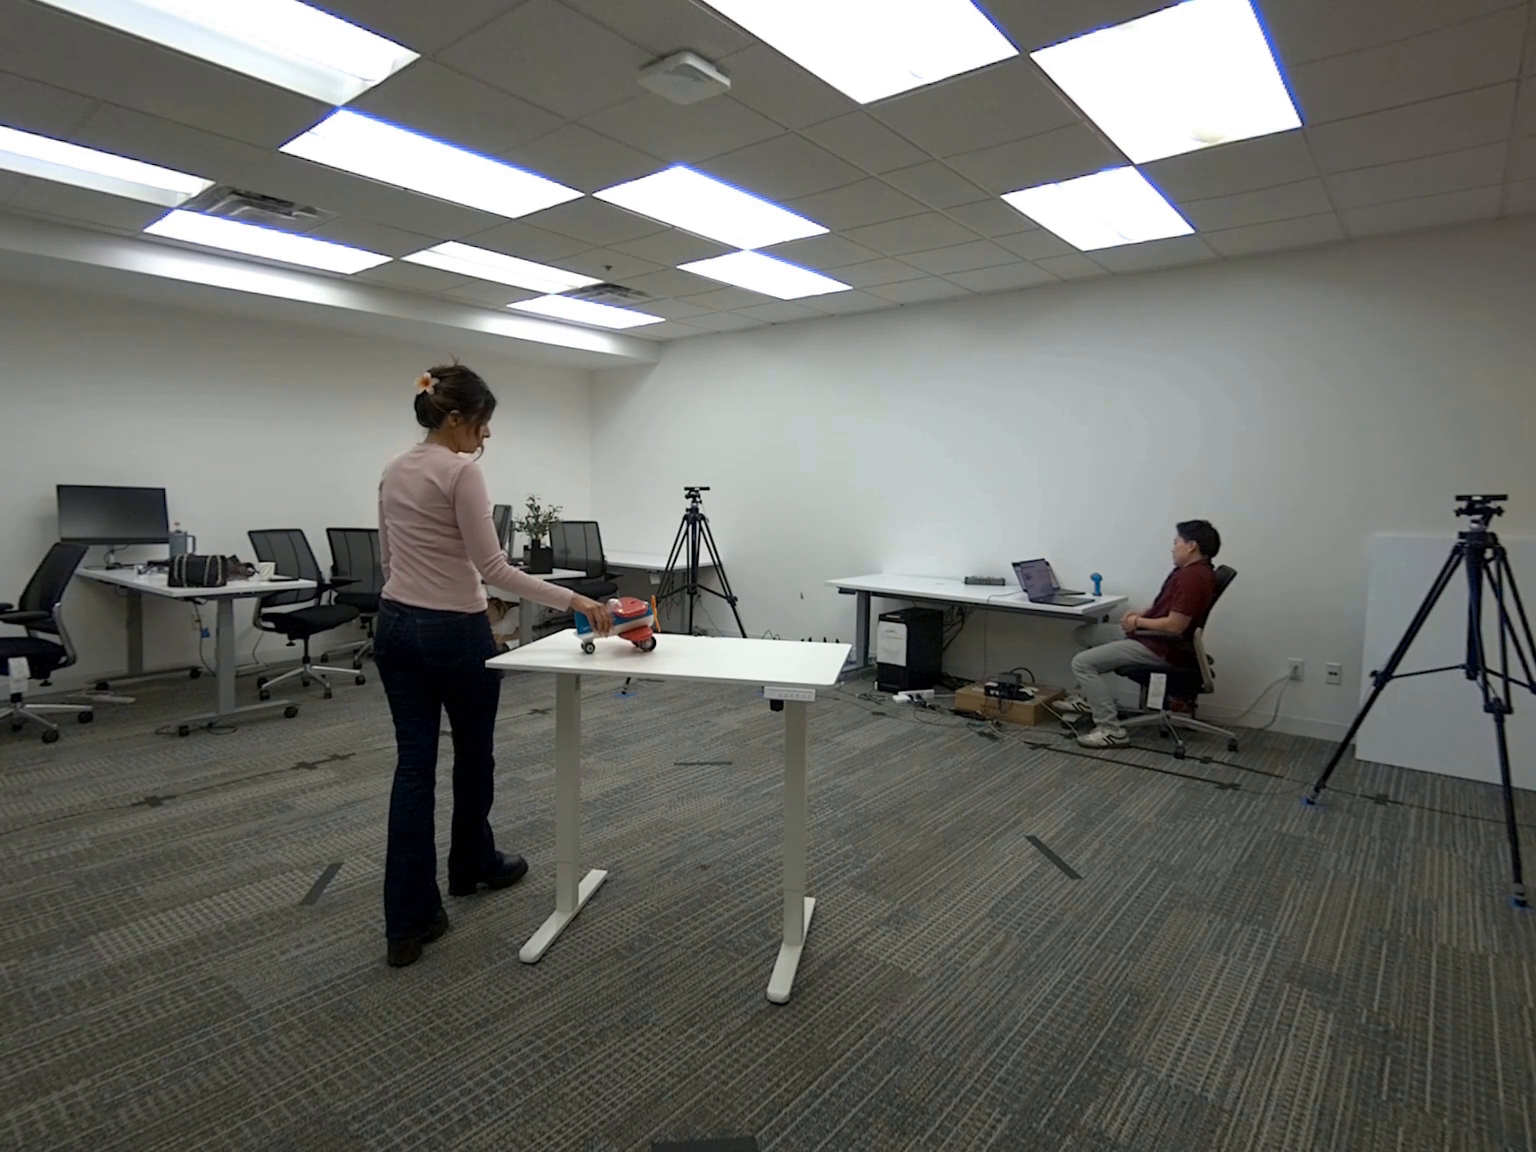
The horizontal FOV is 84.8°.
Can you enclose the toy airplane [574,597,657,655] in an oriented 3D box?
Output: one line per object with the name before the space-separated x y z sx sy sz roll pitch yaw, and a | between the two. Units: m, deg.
toy airplane | -0.475 0.157 2.612 0.260 0.156 0.251 6 5 42
